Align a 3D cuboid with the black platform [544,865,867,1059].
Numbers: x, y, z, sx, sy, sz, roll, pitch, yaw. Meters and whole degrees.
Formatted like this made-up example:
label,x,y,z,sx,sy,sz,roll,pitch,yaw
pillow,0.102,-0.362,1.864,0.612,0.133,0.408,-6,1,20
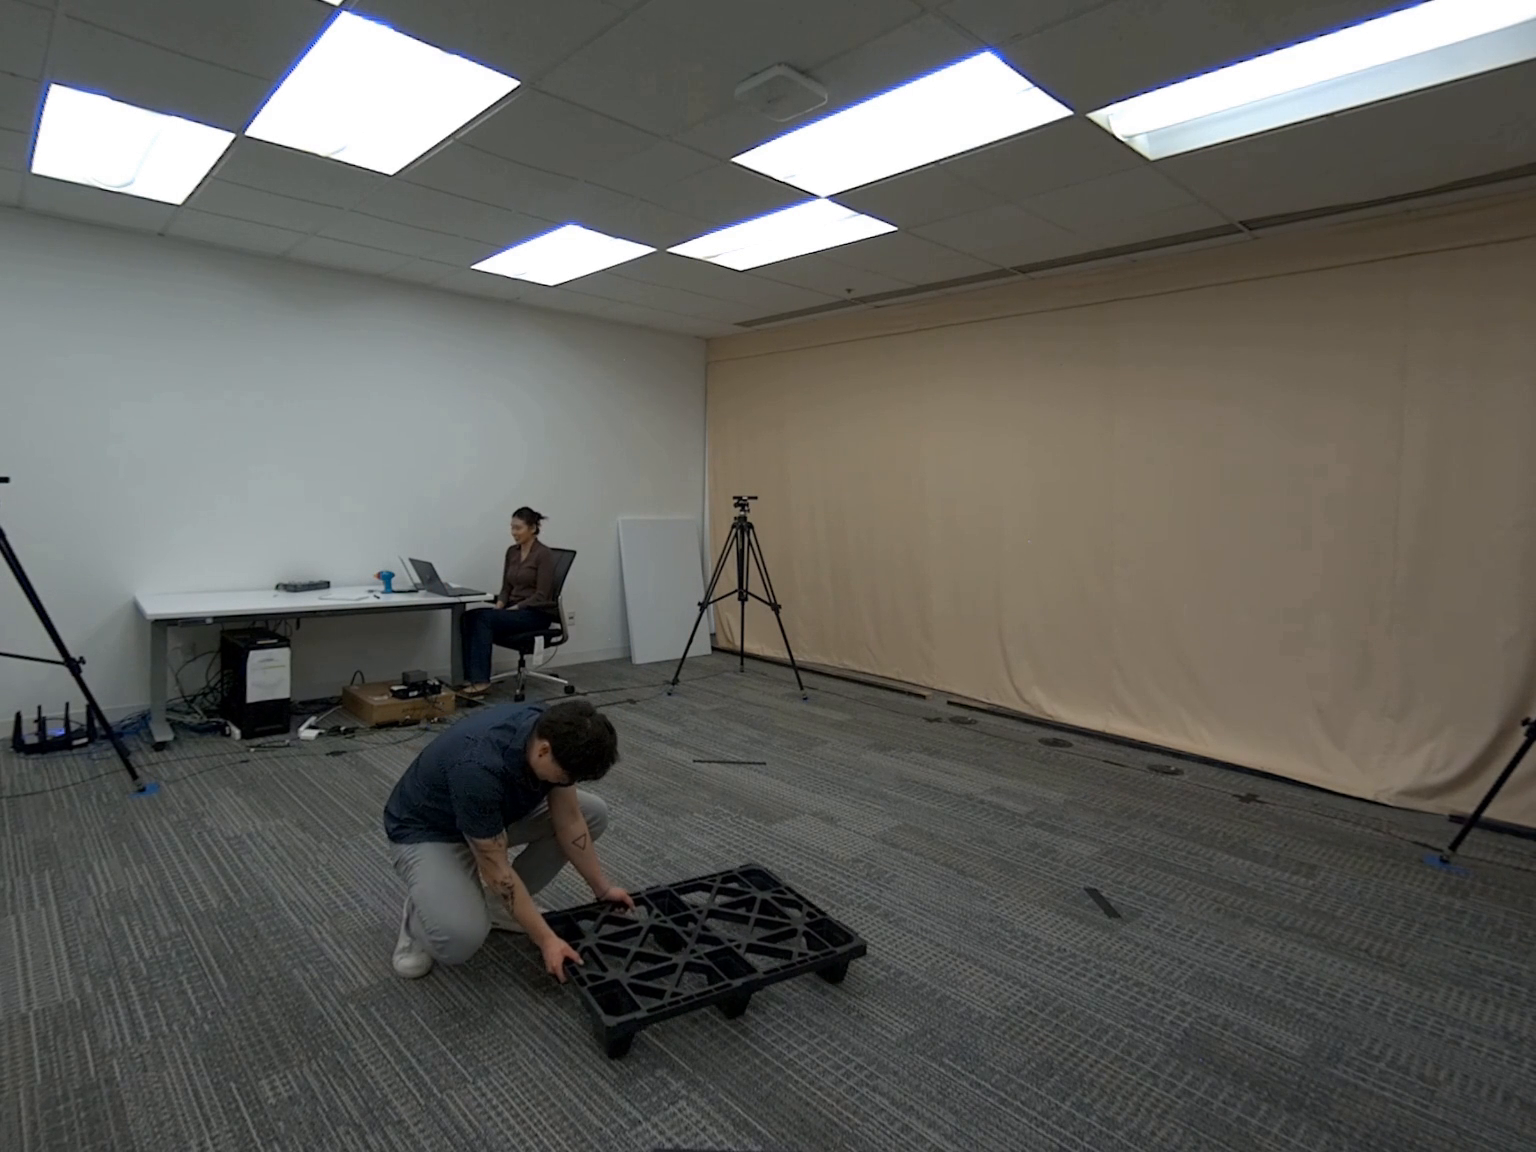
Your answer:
label,x,y,z,sx,sy,sz,roll,pitch,yaw
black platform,-0.210,1.096,2.444,0.789,0.143,0.620,-3,7,-32
